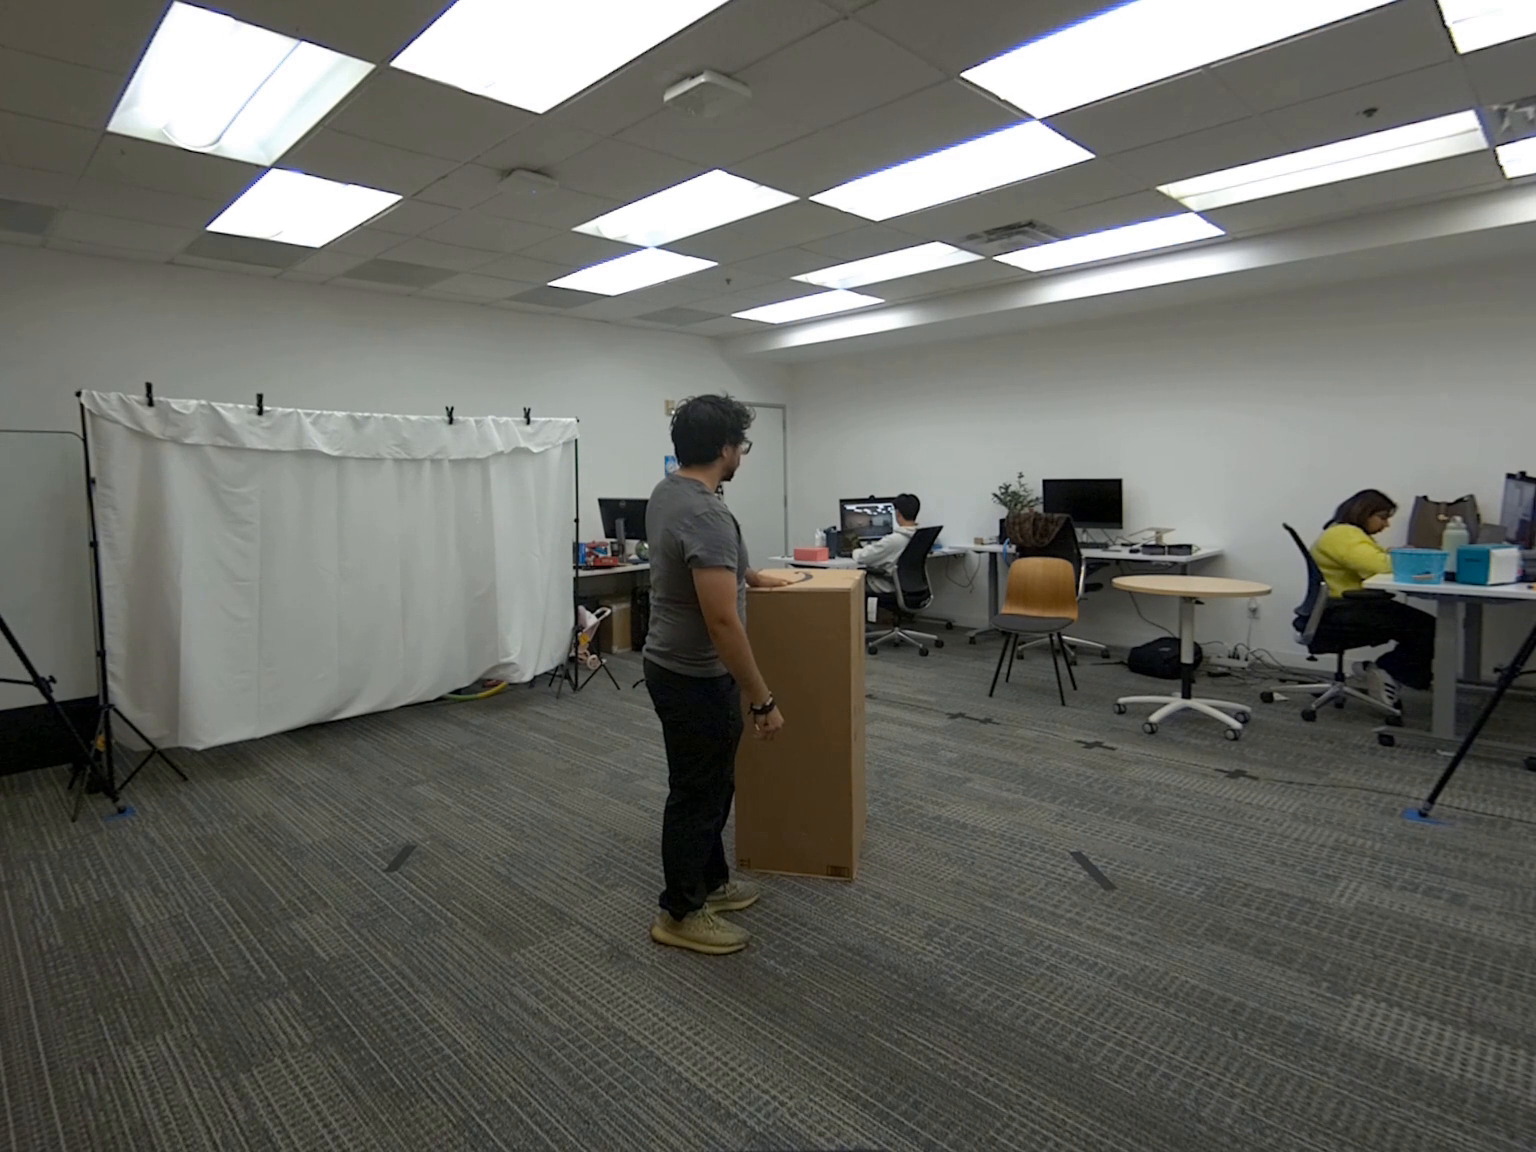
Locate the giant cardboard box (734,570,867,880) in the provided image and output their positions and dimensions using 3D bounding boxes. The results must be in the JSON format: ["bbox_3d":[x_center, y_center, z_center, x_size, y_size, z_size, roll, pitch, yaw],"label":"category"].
[{"bbox_3d":[0.136,0.514,3.237,0.432,1.021,0.572,0,5,13],"label":"giant cardboard box"}]
